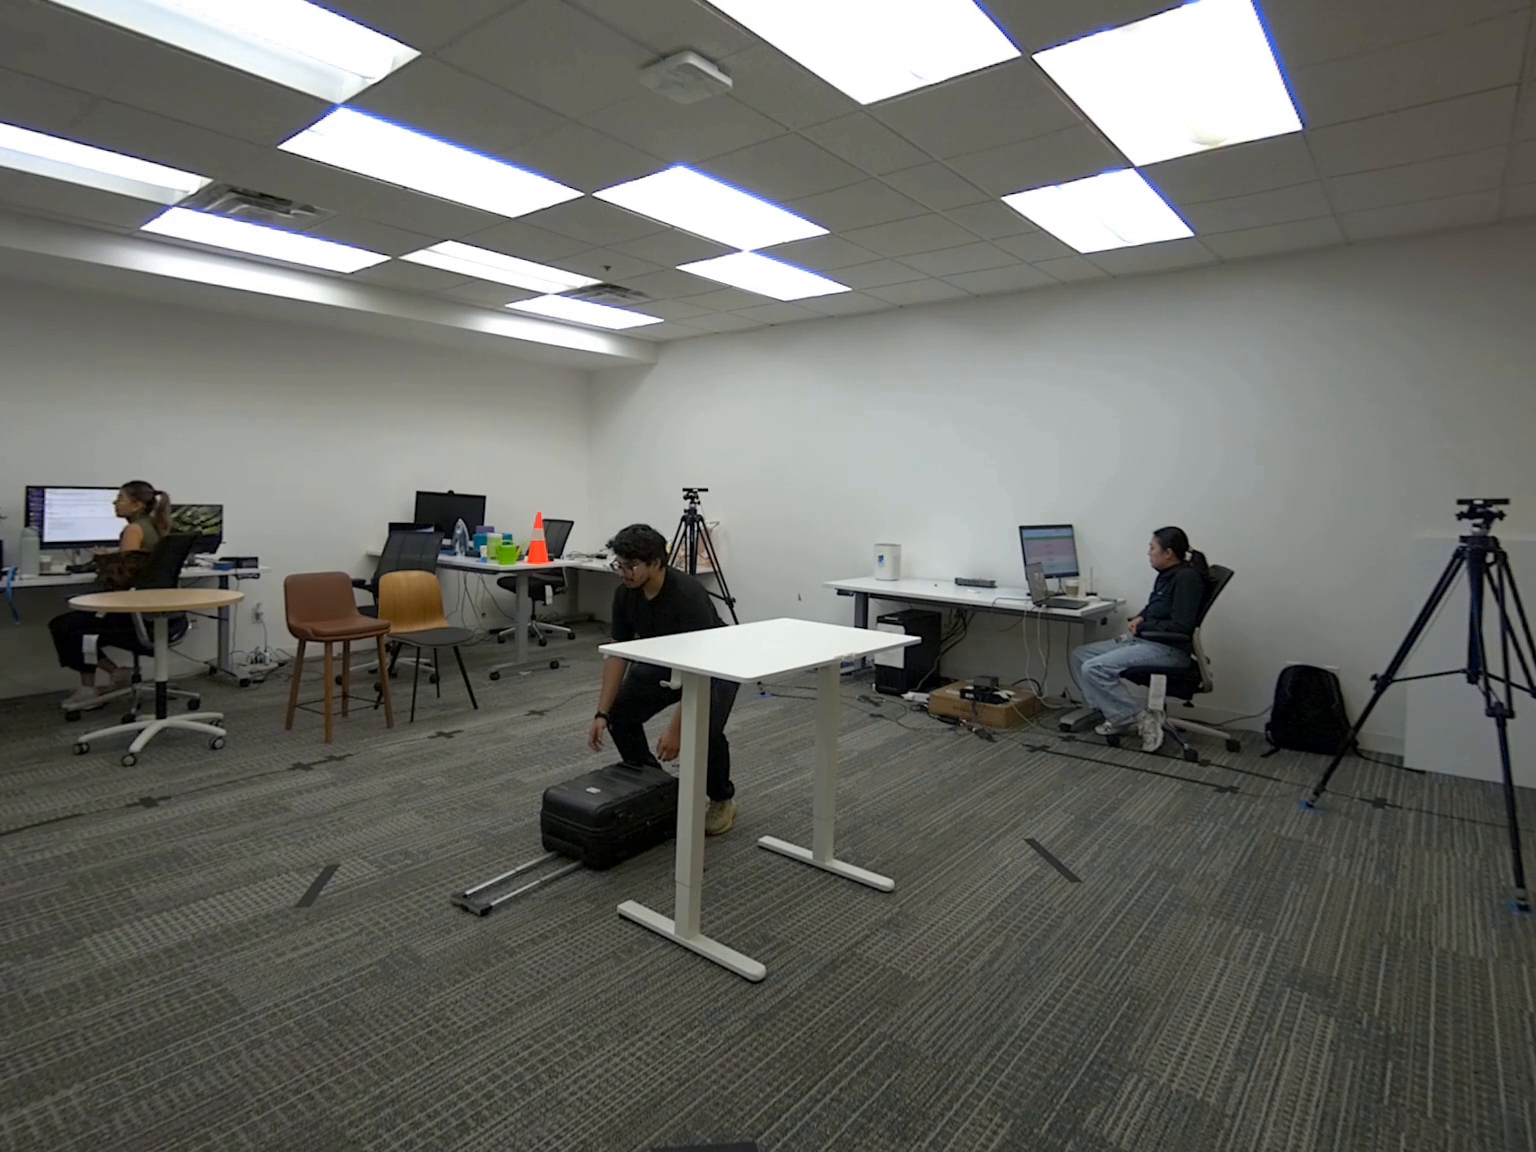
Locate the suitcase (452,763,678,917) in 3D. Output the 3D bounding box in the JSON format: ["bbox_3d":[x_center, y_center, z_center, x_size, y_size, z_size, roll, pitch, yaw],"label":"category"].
[{"bbox_3d":[-0.730,0.935,3.163,0.396,0.256,0.950,5,5,34],"label":"suitcase"}]
